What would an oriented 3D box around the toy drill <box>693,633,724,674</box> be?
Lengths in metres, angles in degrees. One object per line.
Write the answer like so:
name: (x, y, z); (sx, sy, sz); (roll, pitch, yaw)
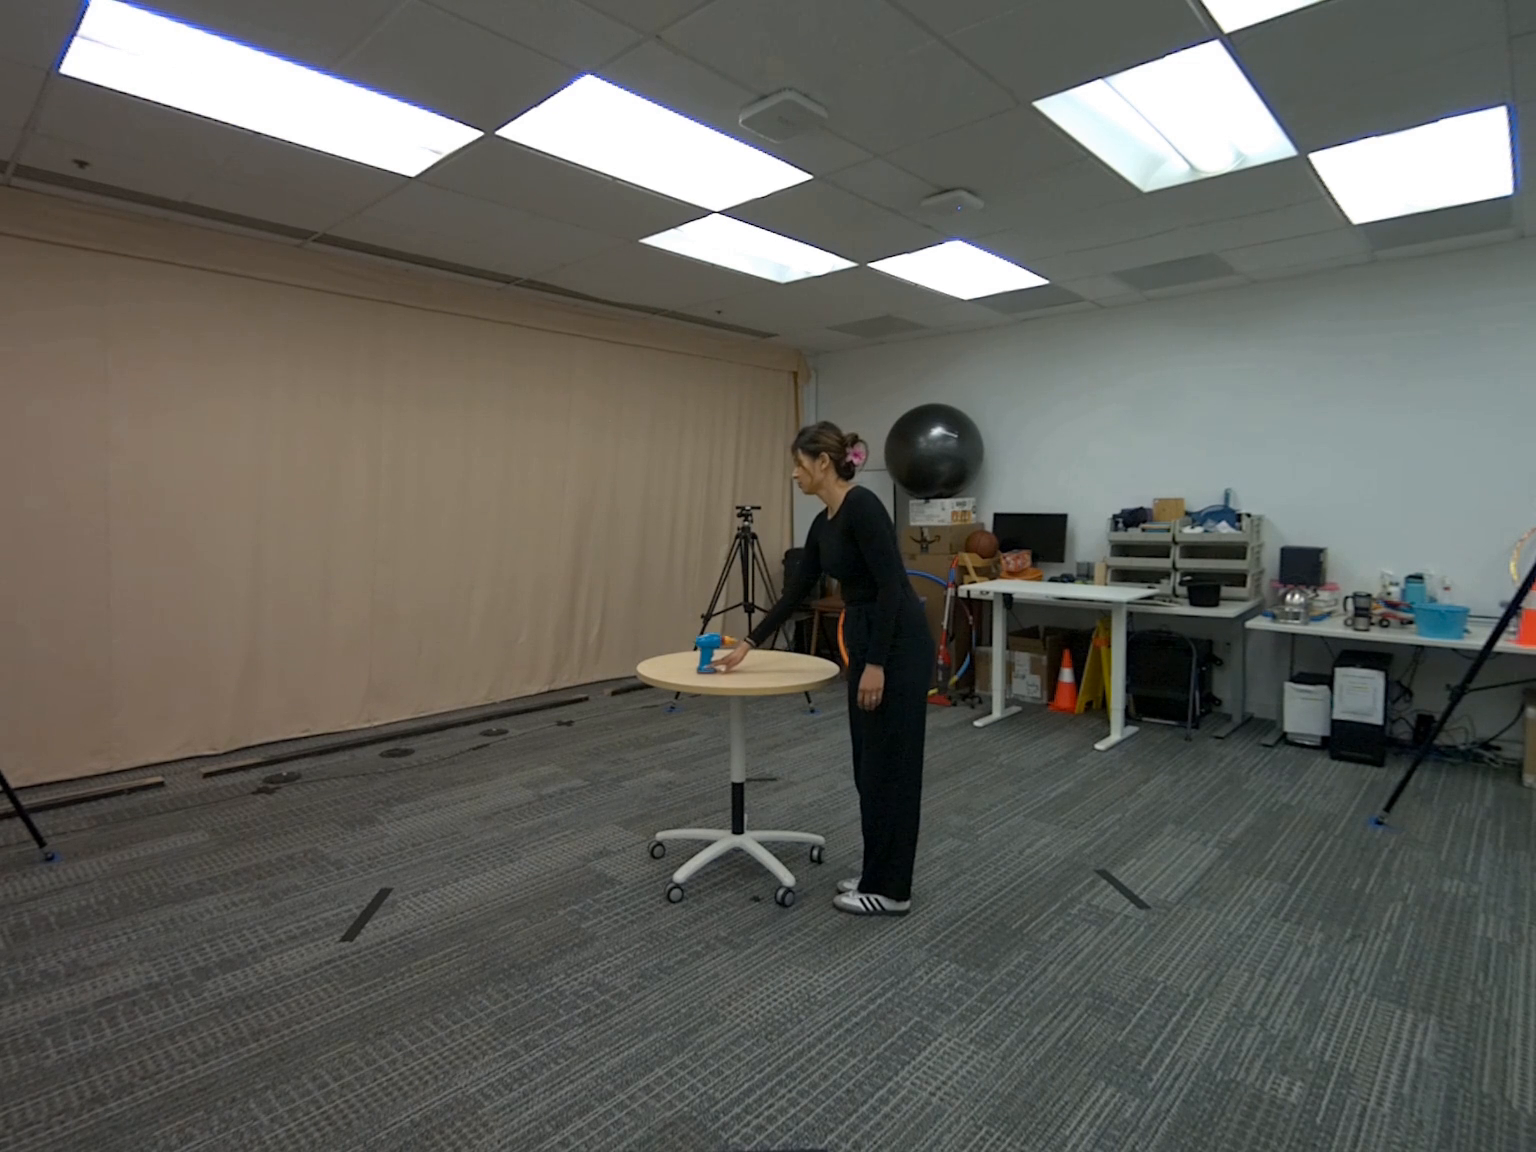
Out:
toy drill: (-0.174, 0.283, 3.090); (0.166, 0.146, 0.062); (0, 2, -21)
